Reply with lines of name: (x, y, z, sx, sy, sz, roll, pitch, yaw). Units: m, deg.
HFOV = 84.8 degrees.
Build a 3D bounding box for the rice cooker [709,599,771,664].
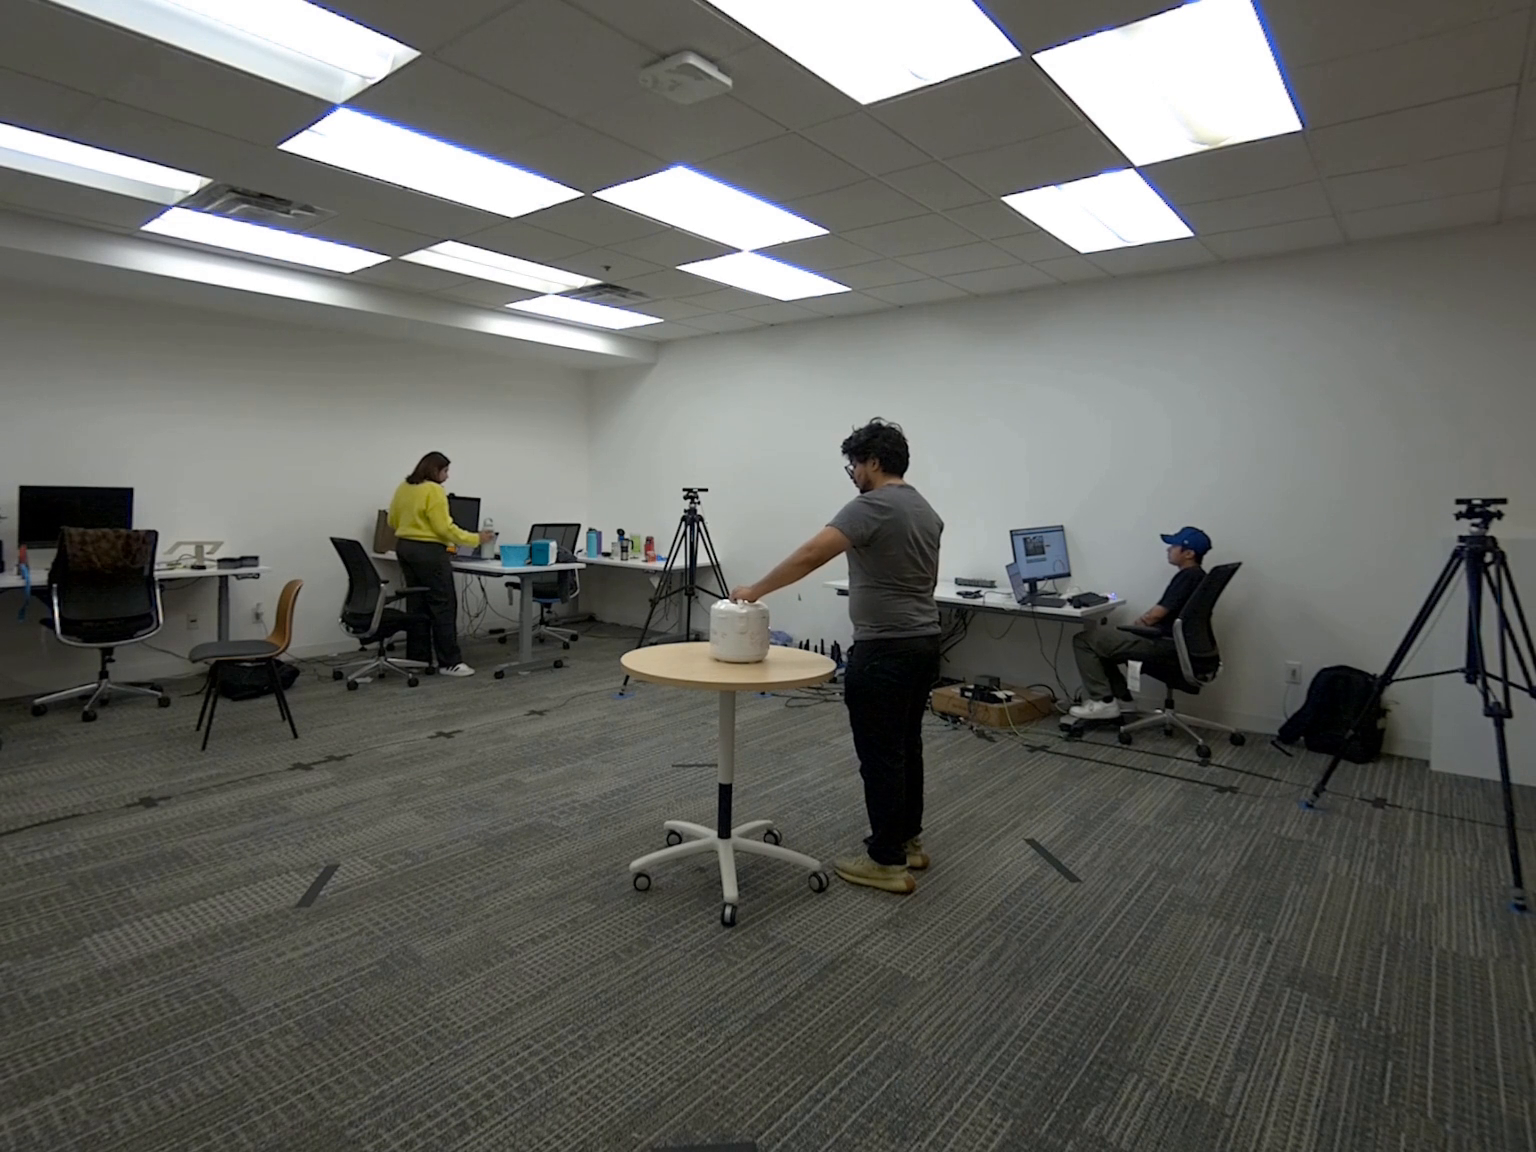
rice cooker: (-0.112, 0.181, 3.053, 0.217, 0.232, 0.222, 0, 4, -4)
